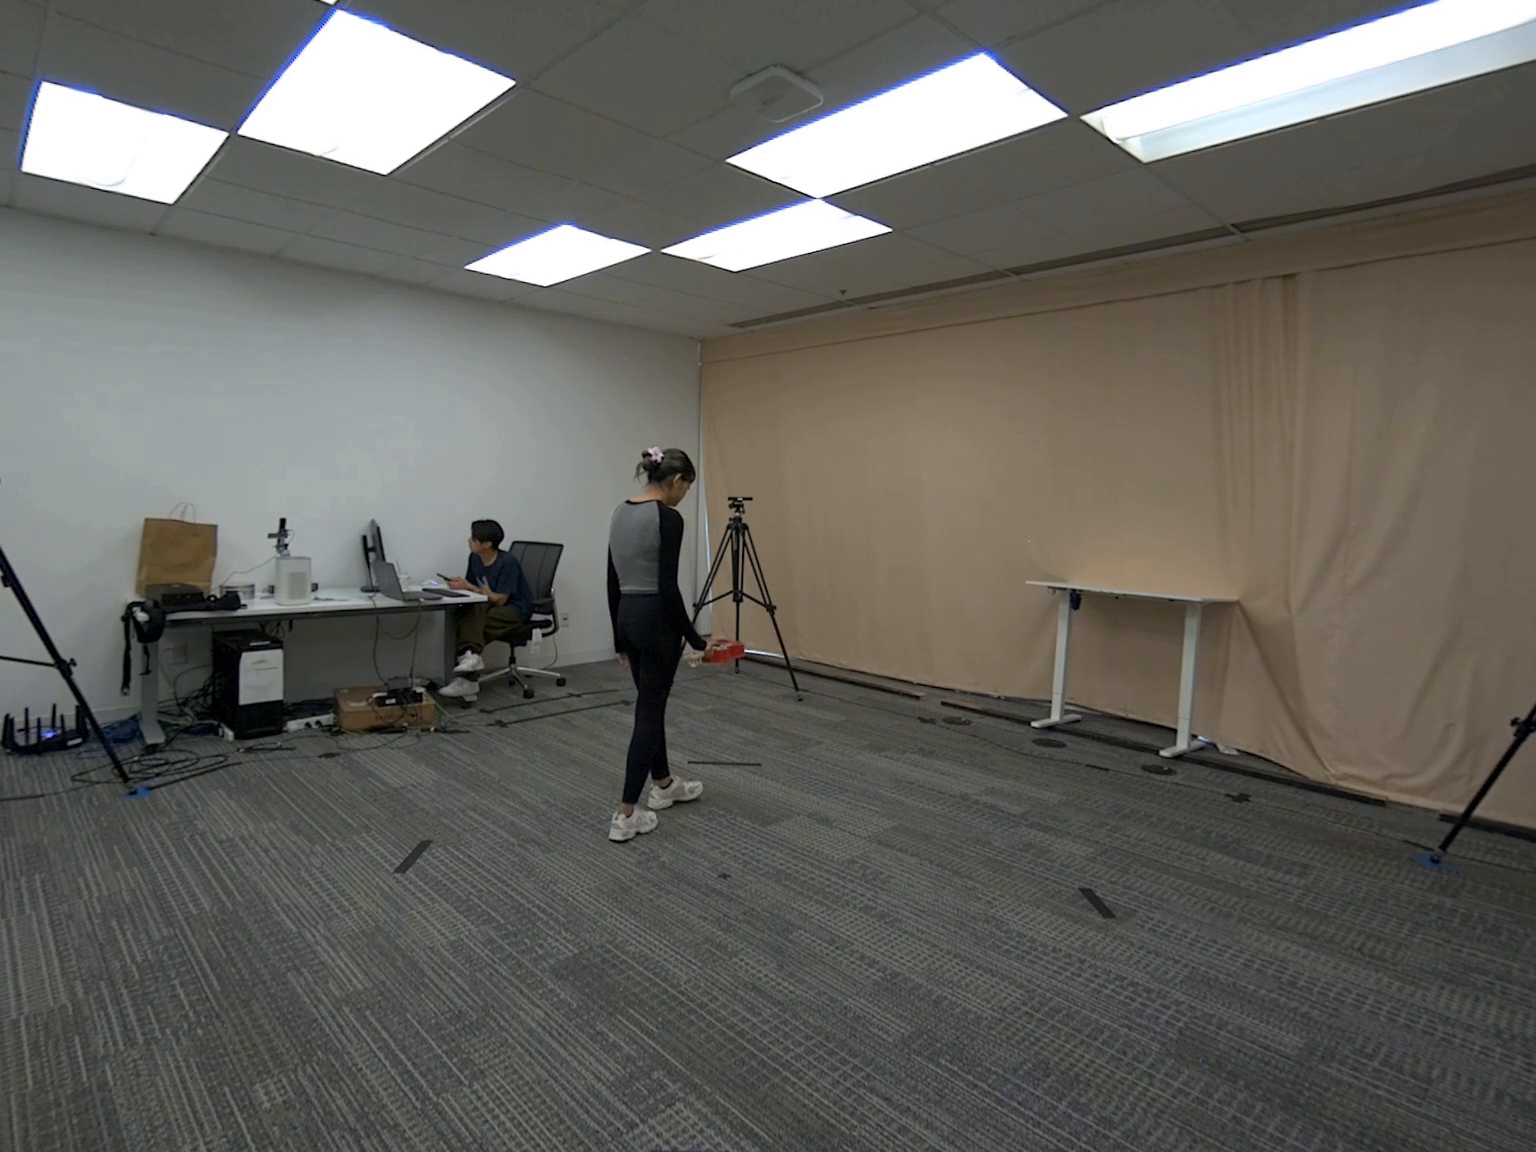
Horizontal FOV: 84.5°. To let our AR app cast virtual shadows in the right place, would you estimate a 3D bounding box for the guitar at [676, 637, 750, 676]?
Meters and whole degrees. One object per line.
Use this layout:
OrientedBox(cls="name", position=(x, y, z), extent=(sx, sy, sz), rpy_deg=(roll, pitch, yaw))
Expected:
OrientedBox(cls="guitar", position=(-0.268, 0.333, 3.581), extent=(0.196, 0.070, 0.490), rpy_deg=(3, 5, 23))
